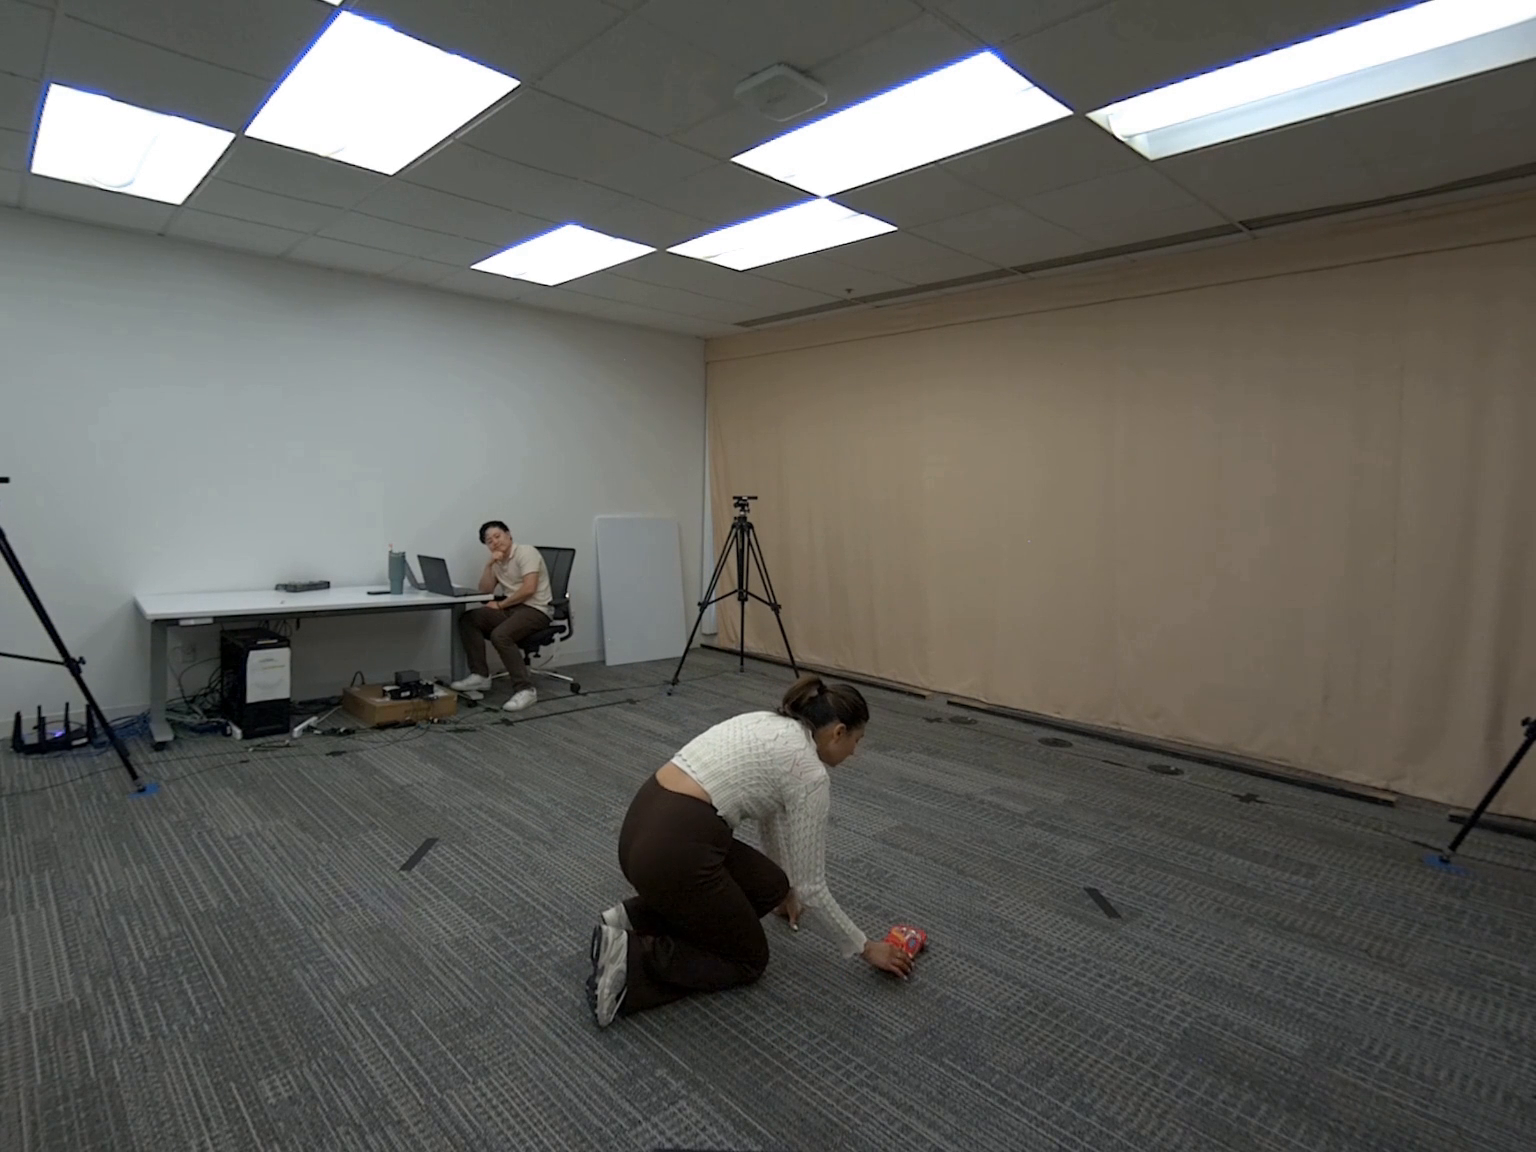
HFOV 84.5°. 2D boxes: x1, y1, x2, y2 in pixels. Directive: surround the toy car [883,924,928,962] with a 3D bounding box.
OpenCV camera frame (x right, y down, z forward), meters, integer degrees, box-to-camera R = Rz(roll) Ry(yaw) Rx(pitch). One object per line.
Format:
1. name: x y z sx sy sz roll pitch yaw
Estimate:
1. toy car: 0.392 1.138 2.558 0.133 0.083 0.248 5 -3 29
